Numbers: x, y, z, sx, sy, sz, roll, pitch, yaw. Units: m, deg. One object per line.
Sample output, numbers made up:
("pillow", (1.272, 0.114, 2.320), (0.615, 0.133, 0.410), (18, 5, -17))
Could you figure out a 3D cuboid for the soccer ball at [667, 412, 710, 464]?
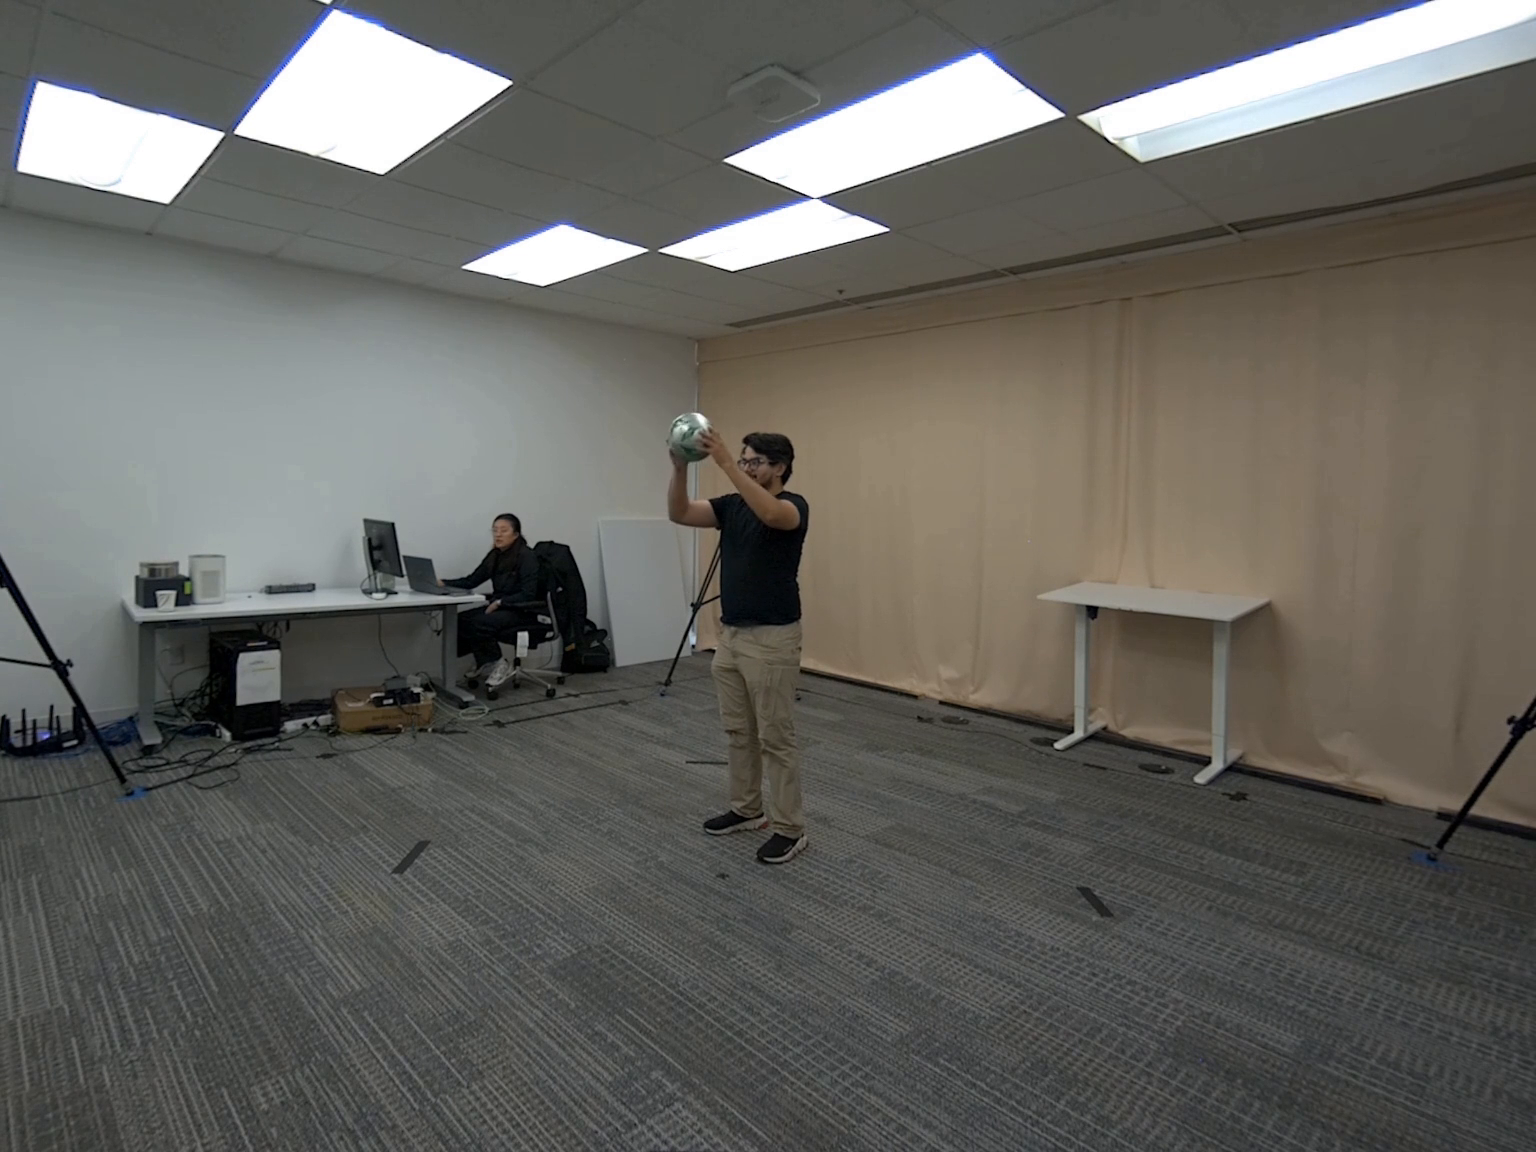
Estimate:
("soccer ball", (-0.294, -0.510, 3.197), (0.187, 0.187, 0.188), (1, 4, -1))
